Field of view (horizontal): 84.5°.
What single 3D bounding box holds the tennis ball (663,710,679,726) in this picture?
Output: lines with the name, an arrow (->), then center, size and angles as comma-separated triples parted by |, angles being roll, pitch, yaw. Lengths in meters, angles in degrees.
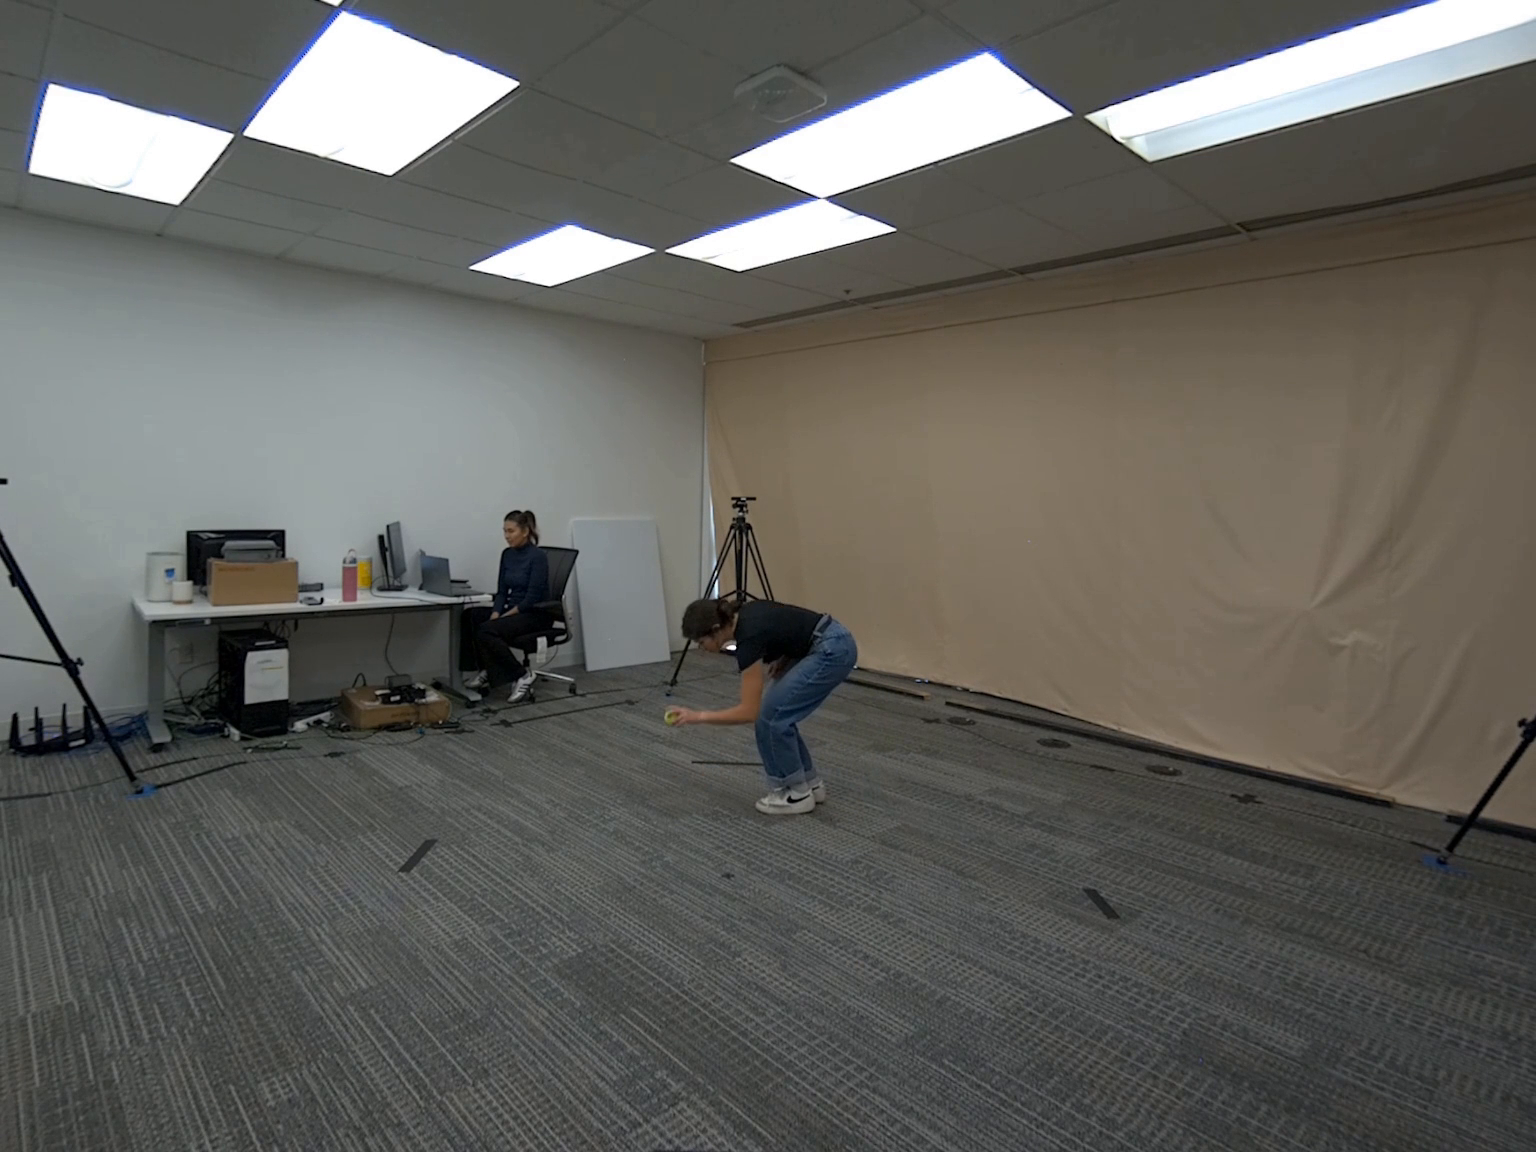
tennis ball -> -0.408, 0.655, 3.636 | 0.066, 0.066, 0.067 | 1, 4, -1
